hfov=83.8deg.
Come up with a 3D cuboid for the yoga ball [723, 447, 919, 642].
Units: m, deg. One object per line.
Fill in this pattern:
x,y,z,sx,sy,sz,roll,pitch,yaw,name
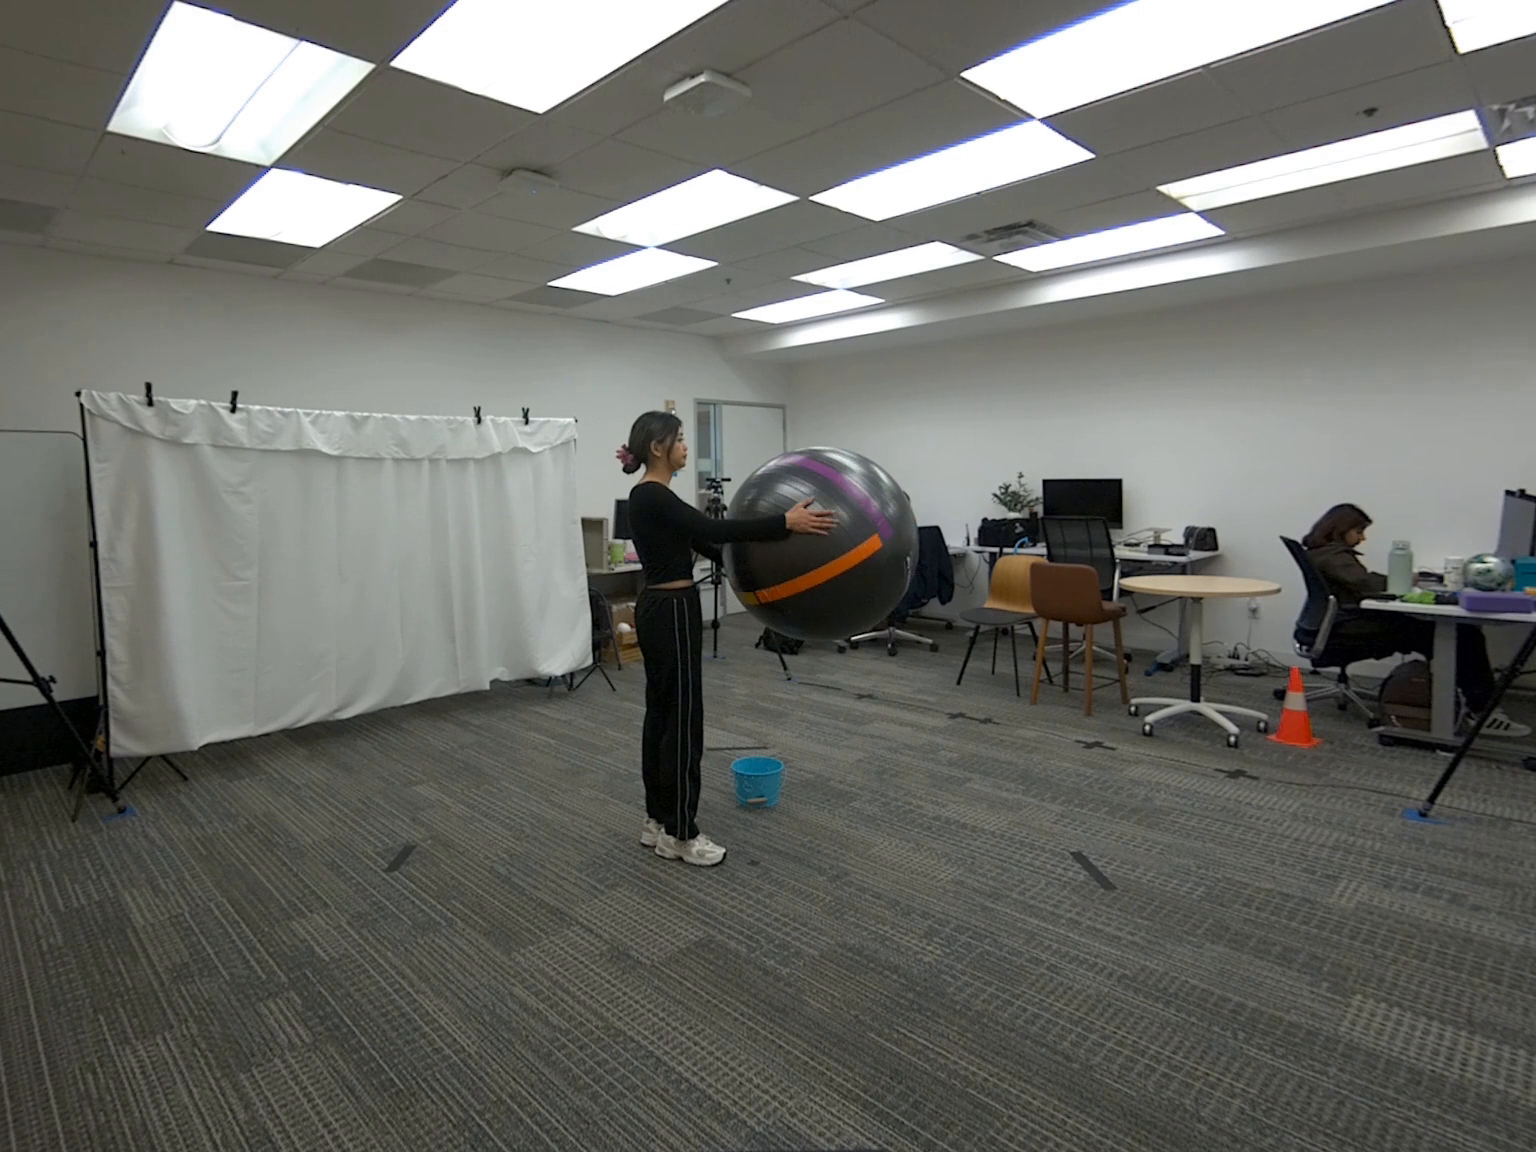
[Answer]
0.209,-0.116,3.325,0.757,0.755,0.762,-1,5,-2,yoga ball
